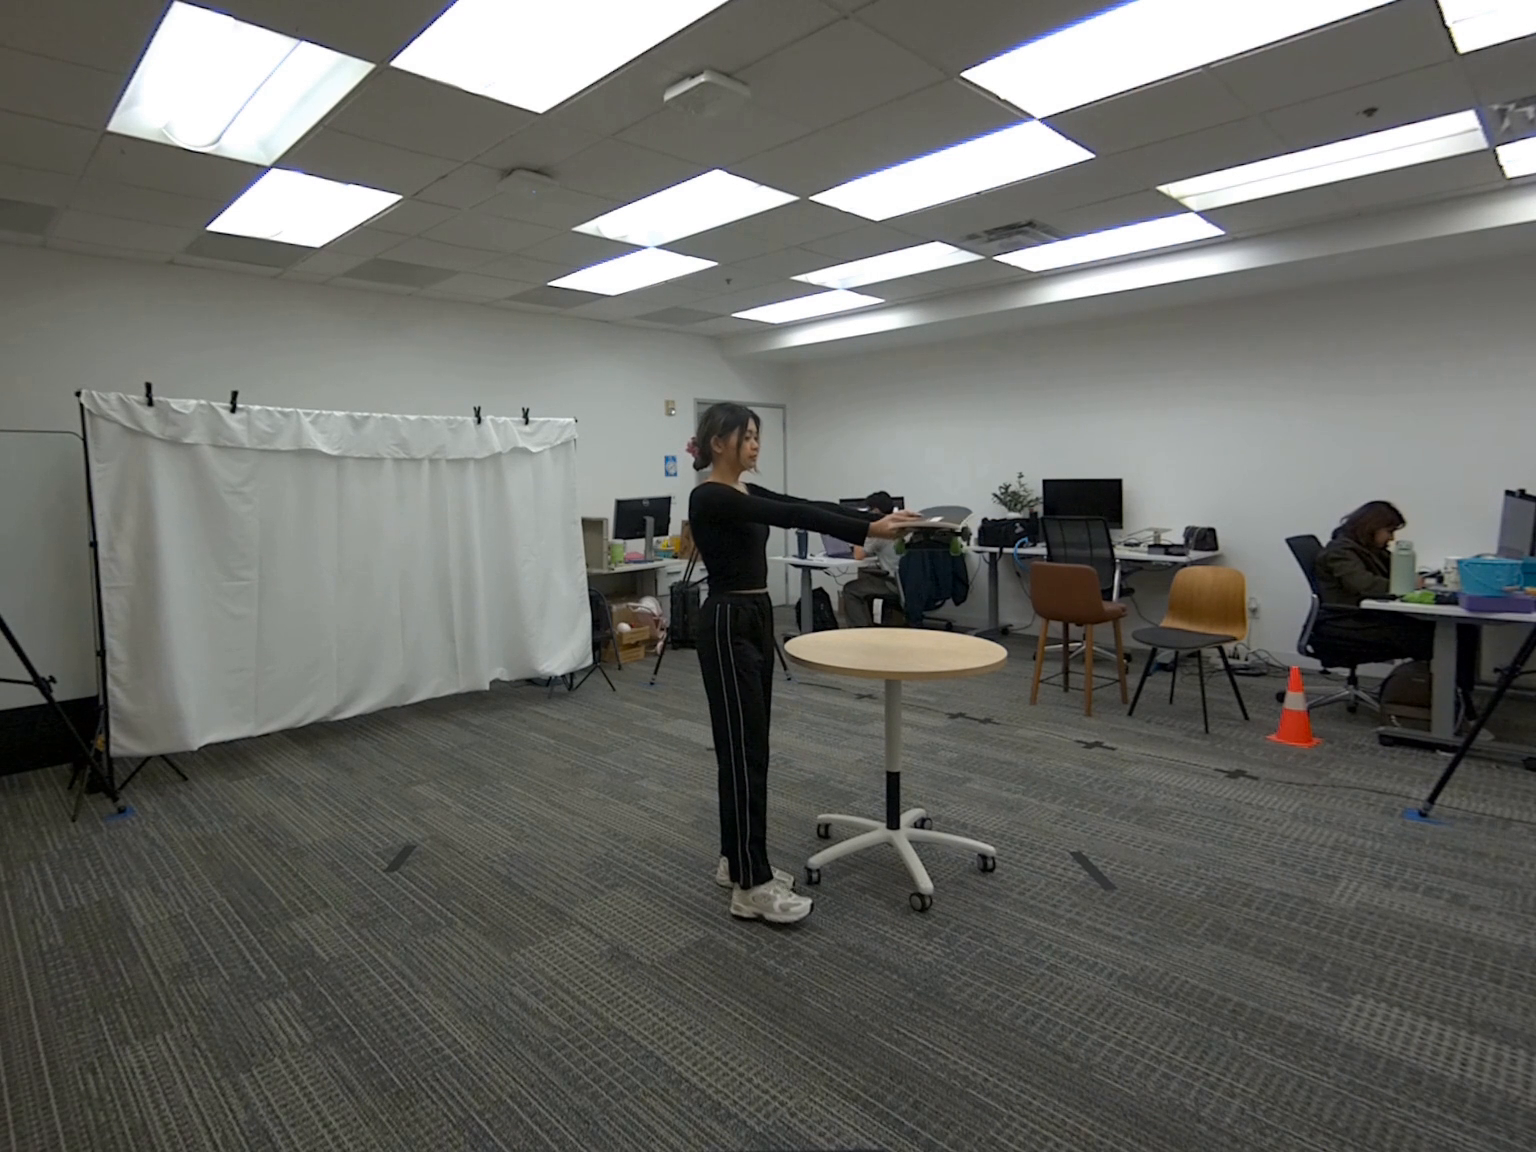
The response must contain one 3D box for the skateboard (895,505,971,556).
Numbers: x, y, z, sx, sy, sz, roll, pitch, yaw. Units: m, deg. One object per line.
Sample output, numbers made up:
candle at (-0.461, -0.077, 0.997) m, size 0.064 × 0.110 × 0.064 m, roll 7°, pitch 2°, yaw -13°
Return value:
skateboard at (0.505, -0.136, 2.593) m, size 0.197 × 0.110 × 0.774 m, roll 0°, pitch 7°, yaw 19°
